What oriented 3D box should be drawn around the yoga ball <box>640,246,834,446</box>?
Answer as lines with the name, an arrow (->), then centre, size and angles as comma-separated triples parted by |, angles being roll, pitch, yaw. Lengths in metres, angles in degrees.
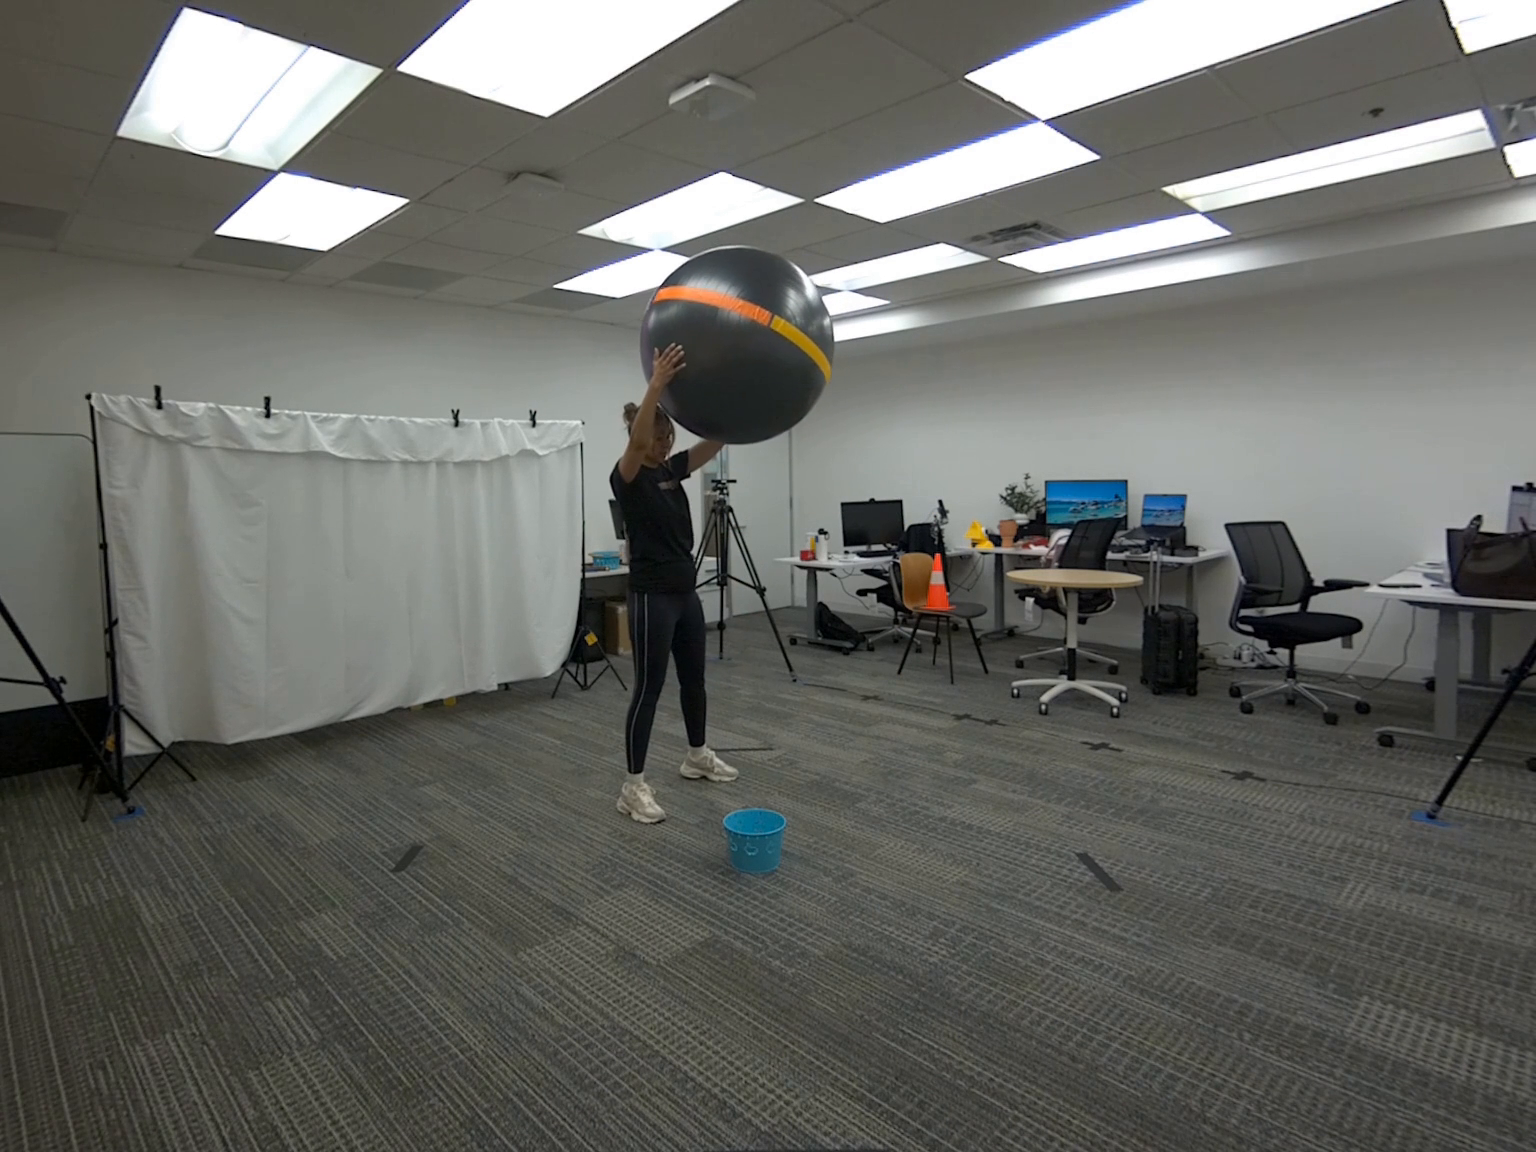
yoga ball -> -0.120, -0.884, 3.338 | 0.757, 0.755, 0.762 | -1, 5, -2
